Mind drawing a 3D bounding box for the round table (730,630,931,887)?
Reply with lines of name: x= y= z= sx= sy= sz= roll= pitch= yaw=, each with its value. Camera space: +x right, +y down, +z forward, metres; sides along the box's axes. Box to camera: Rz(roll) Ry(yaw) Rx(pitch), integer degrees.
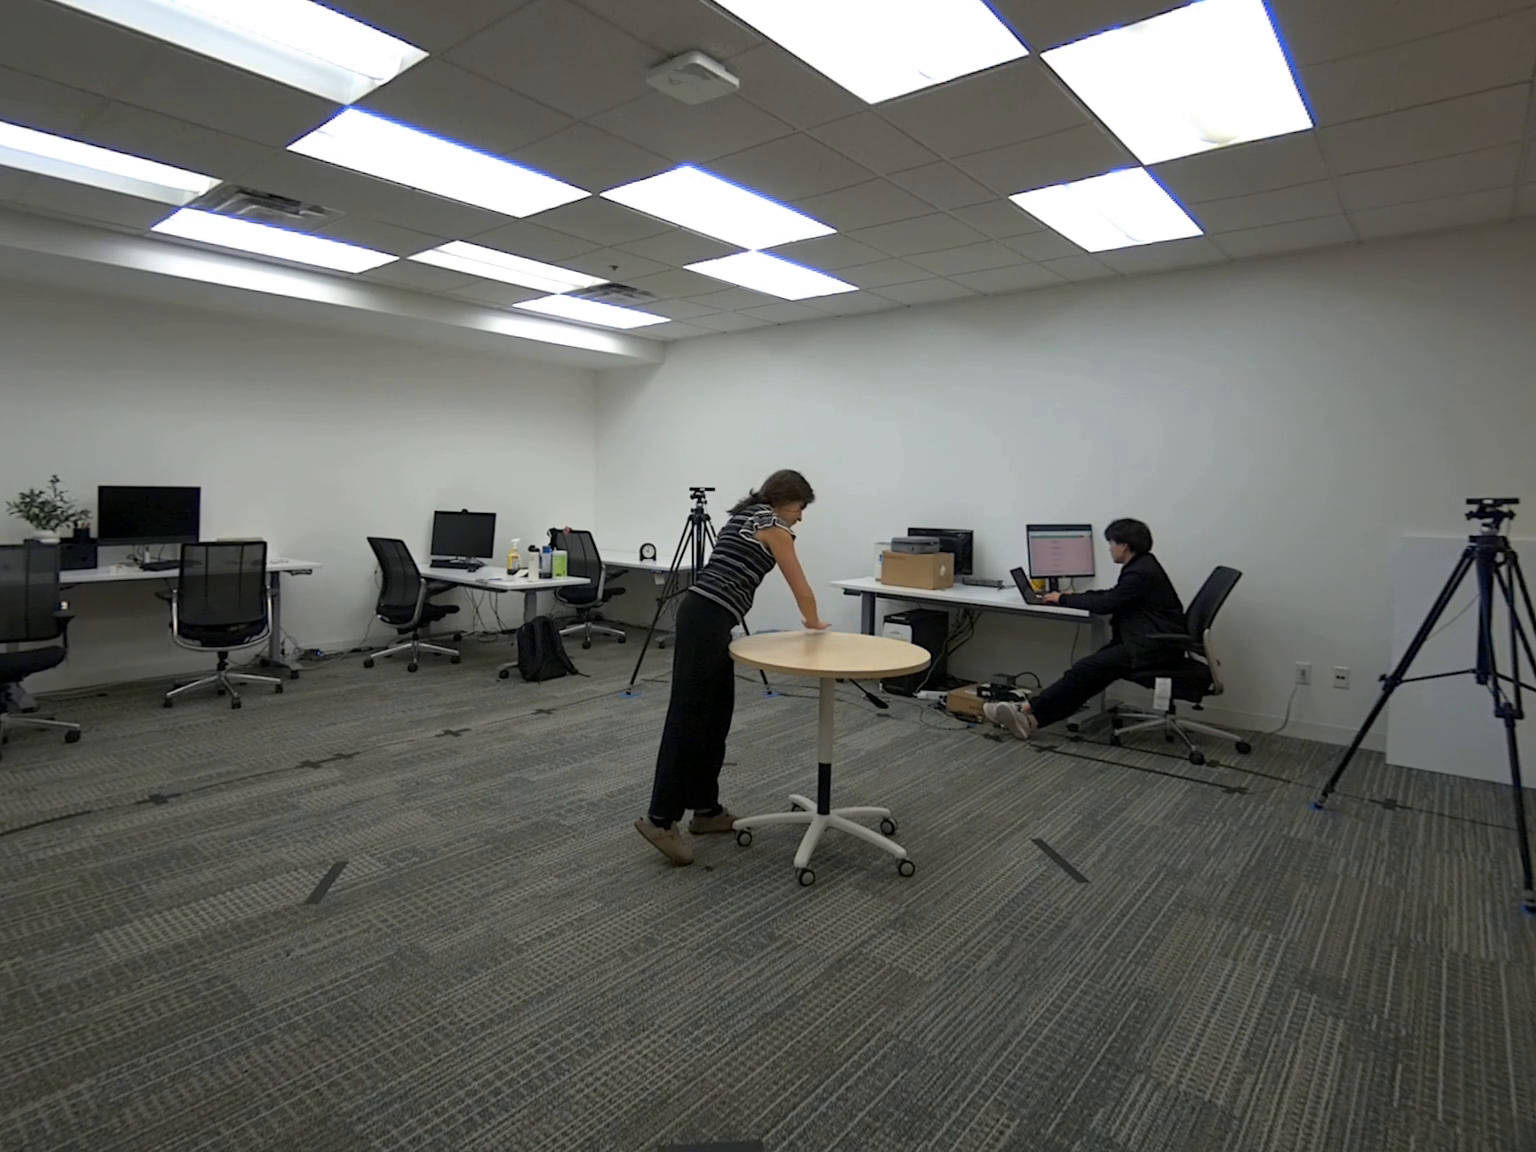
round table: x=0.227 y=0.672 z=3.291 sx=0.763 sy=0.791 sz=0.768 roll=1 pitch=5 yaw=-2
